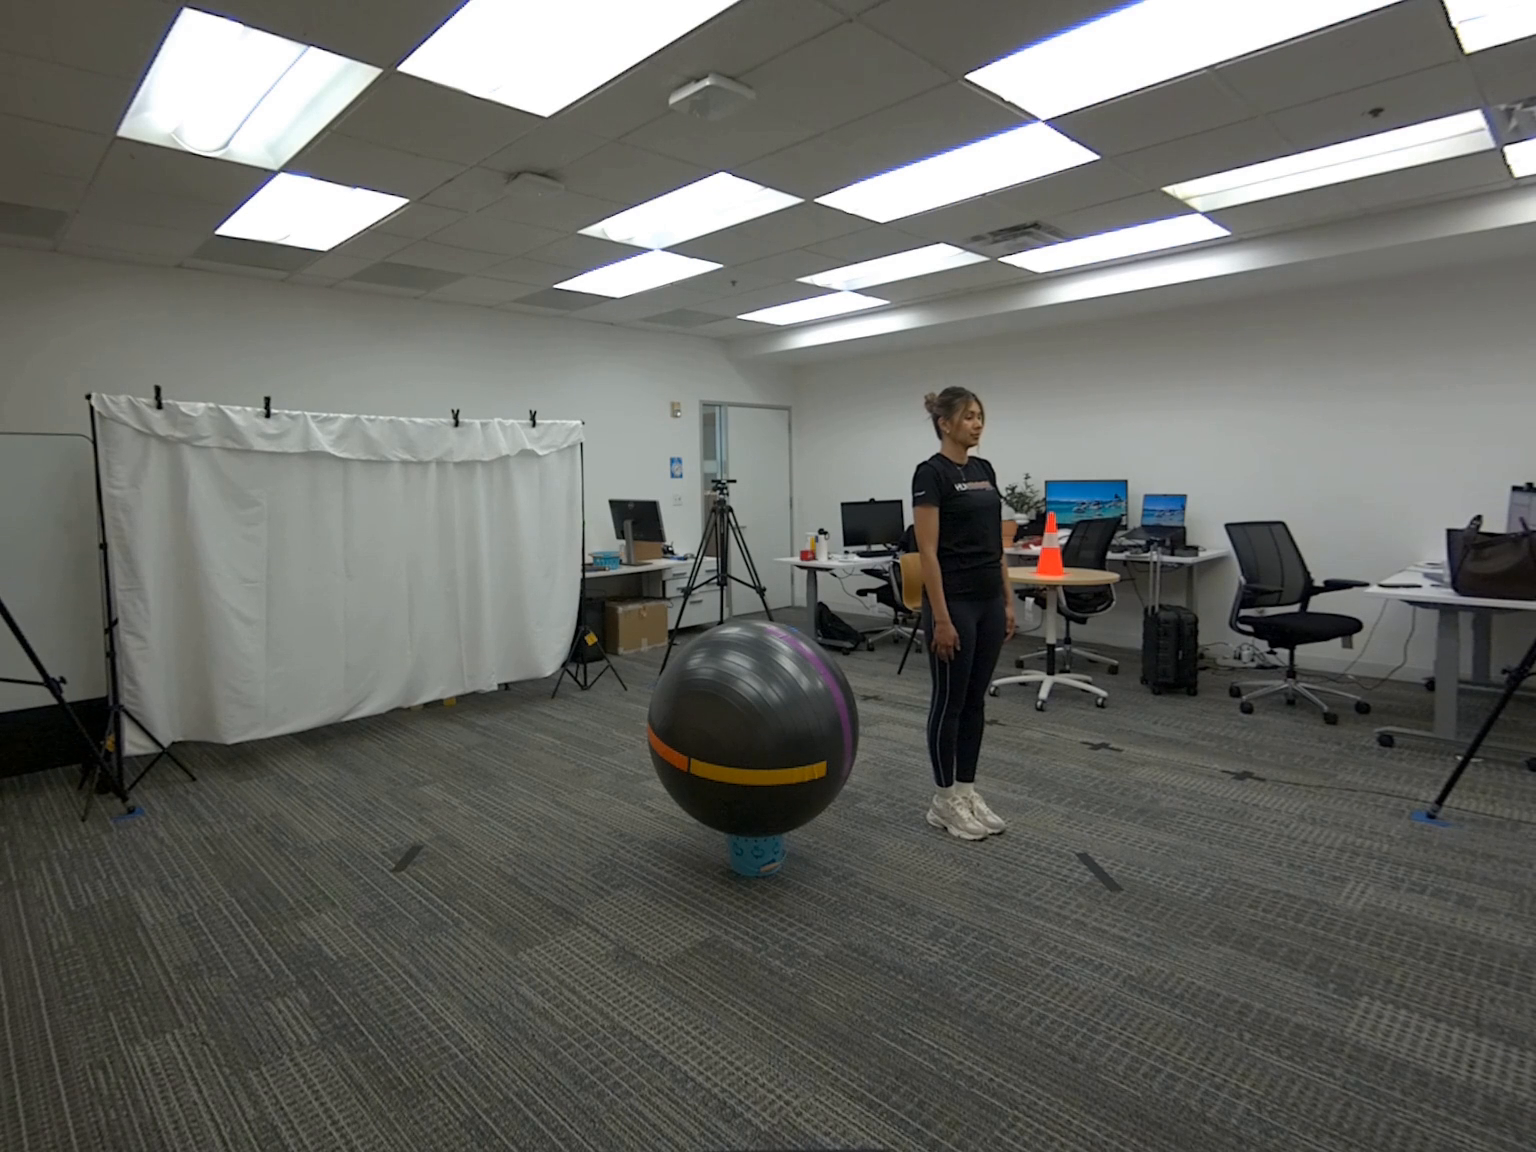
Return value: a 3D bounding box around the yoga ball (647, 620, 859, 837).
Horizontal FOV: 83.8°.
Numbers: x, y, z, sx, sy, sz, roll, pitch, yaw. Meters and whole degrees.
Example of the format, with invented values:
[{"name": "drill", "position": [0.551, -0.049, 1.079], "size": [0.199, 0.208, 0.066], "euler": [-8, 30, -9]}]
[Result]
[{"name": "yoga ball", "position": [-0.053, 0.539, 3.073], "size": [0.757, 0.755, 0.762], "euler": [-1, 5, -2]}]
